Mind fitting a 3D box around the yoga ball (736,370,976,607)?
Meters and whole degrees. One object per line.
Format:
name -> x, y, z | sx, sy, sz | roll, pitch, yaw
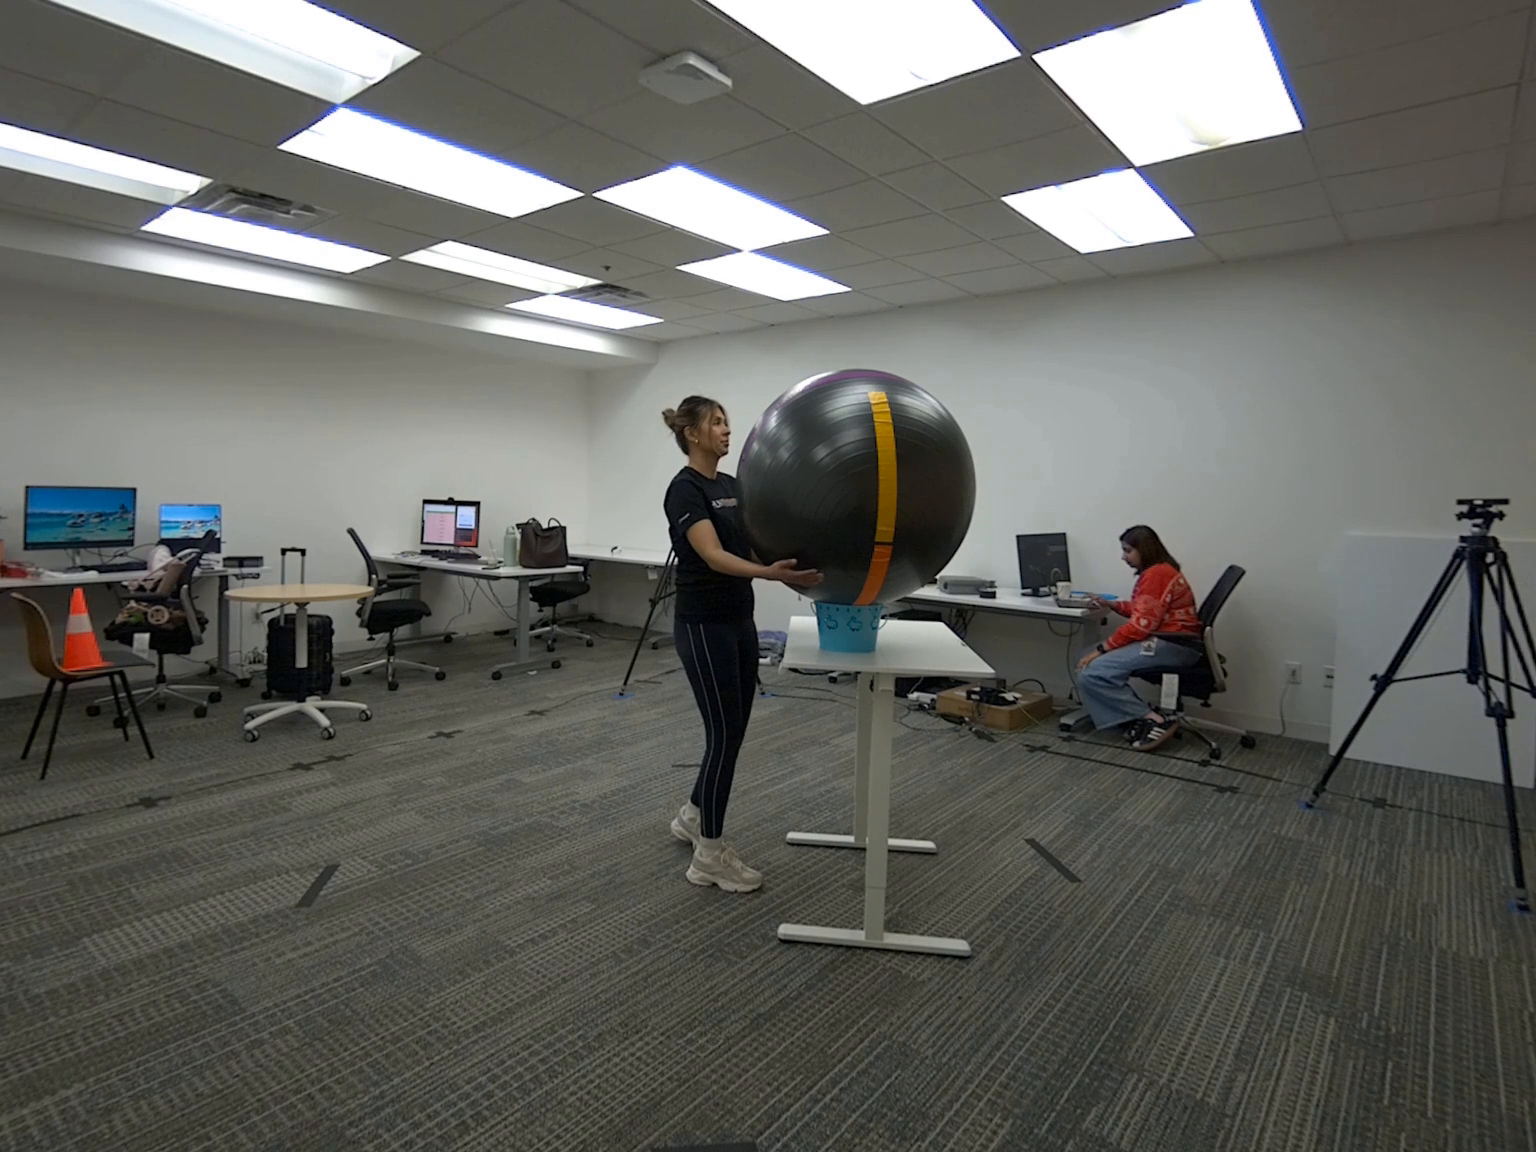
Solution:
yoga ball -> 0.269, -0.277, 2.725 | 0.757, 0.756, 0.762 | 1, 4, -2
